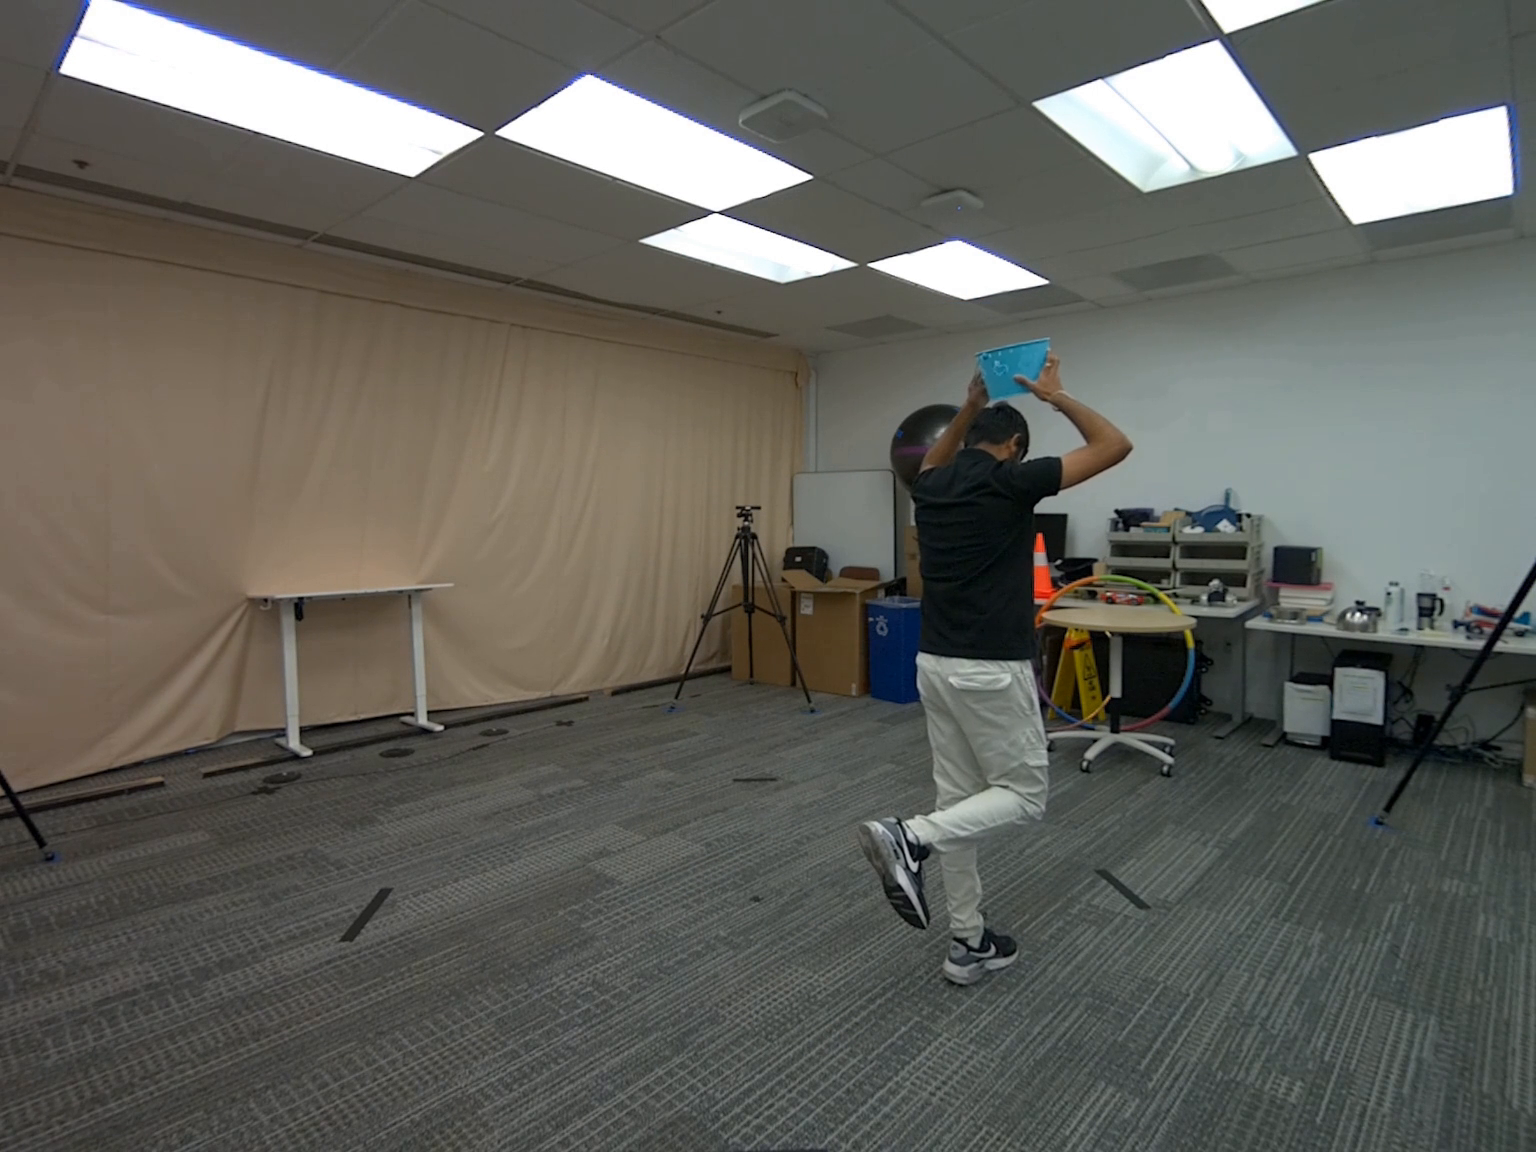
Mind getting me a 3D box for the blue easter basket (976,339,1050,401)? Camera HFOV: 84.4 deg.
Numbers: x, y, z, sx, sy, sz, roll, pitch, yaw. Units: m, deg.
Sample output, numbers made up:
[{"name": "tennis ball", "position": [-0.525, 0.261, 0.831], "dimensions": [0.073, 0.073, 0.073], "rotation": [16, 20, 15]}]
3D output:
[{"name": "blue easter basket", "position": [0.794, -0.651, 2.661], "dimensions": [0.244, 0.155, 0.245], "rotation": [-11, 8, 0]}]
